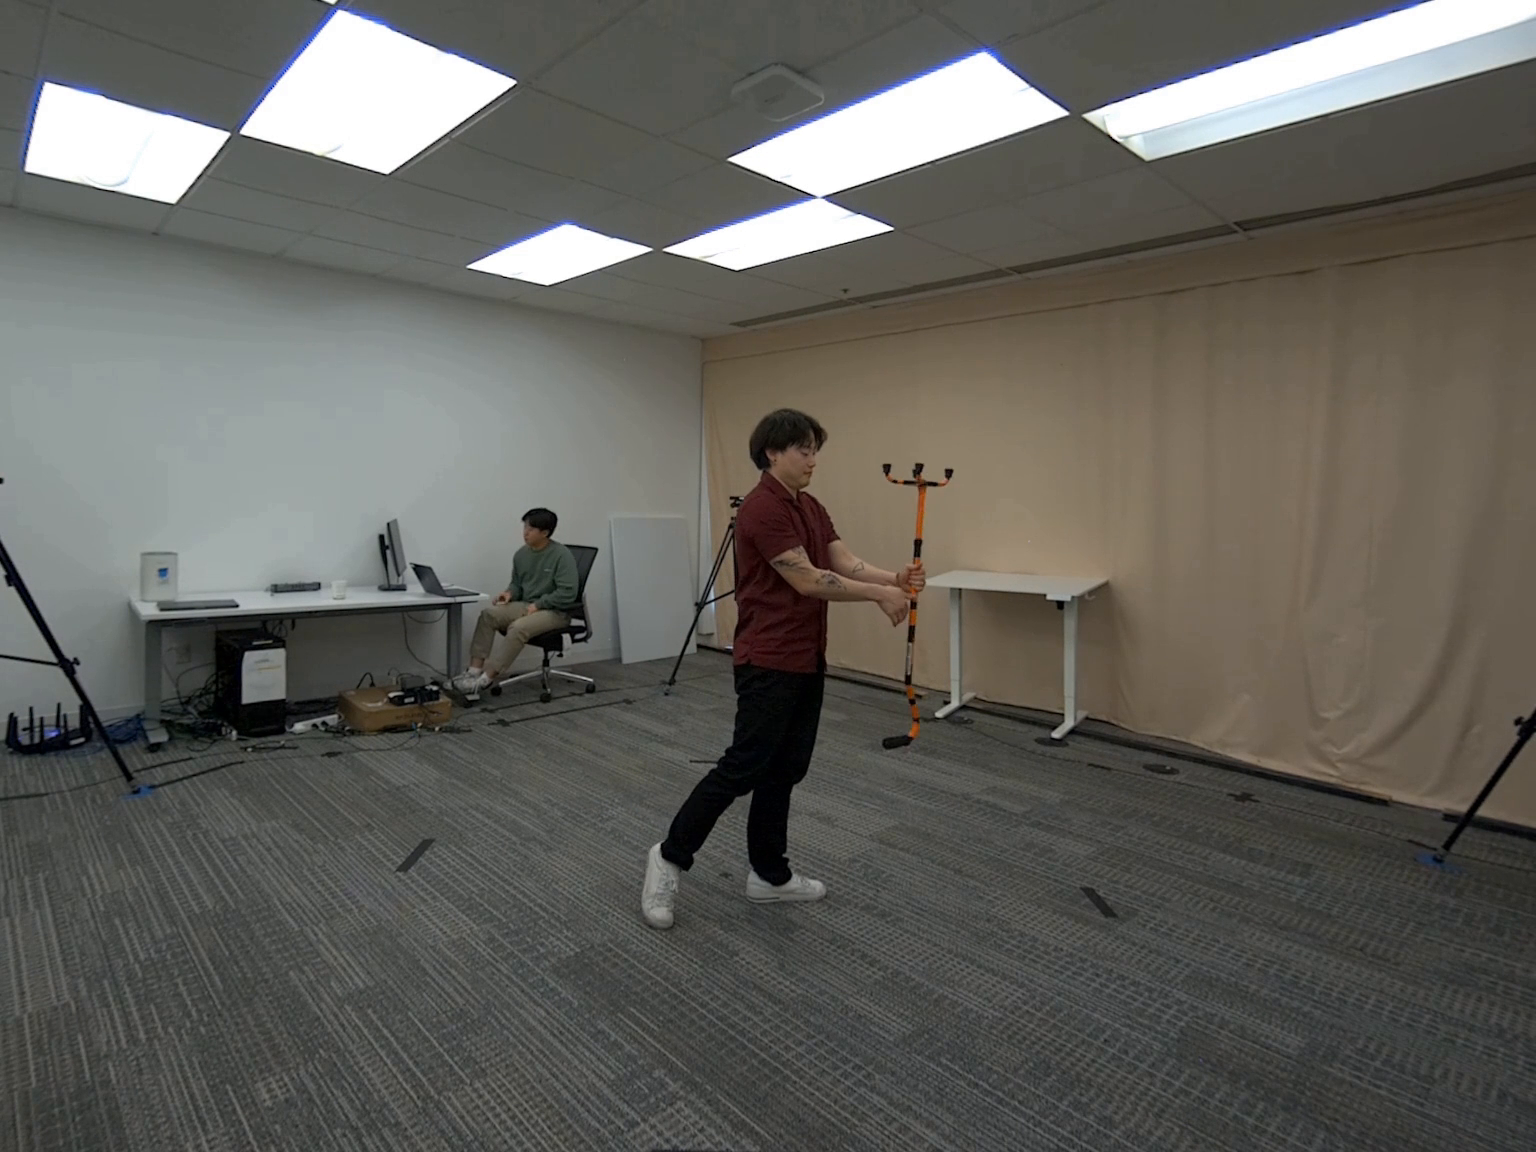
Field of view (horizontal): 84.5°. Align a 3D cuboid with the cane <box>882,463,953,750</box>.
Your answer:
[{"bbox_3d":[0.459,0.099,2.745,0.155,0.907,0.201,5,1,43],"label":"cane"}]
